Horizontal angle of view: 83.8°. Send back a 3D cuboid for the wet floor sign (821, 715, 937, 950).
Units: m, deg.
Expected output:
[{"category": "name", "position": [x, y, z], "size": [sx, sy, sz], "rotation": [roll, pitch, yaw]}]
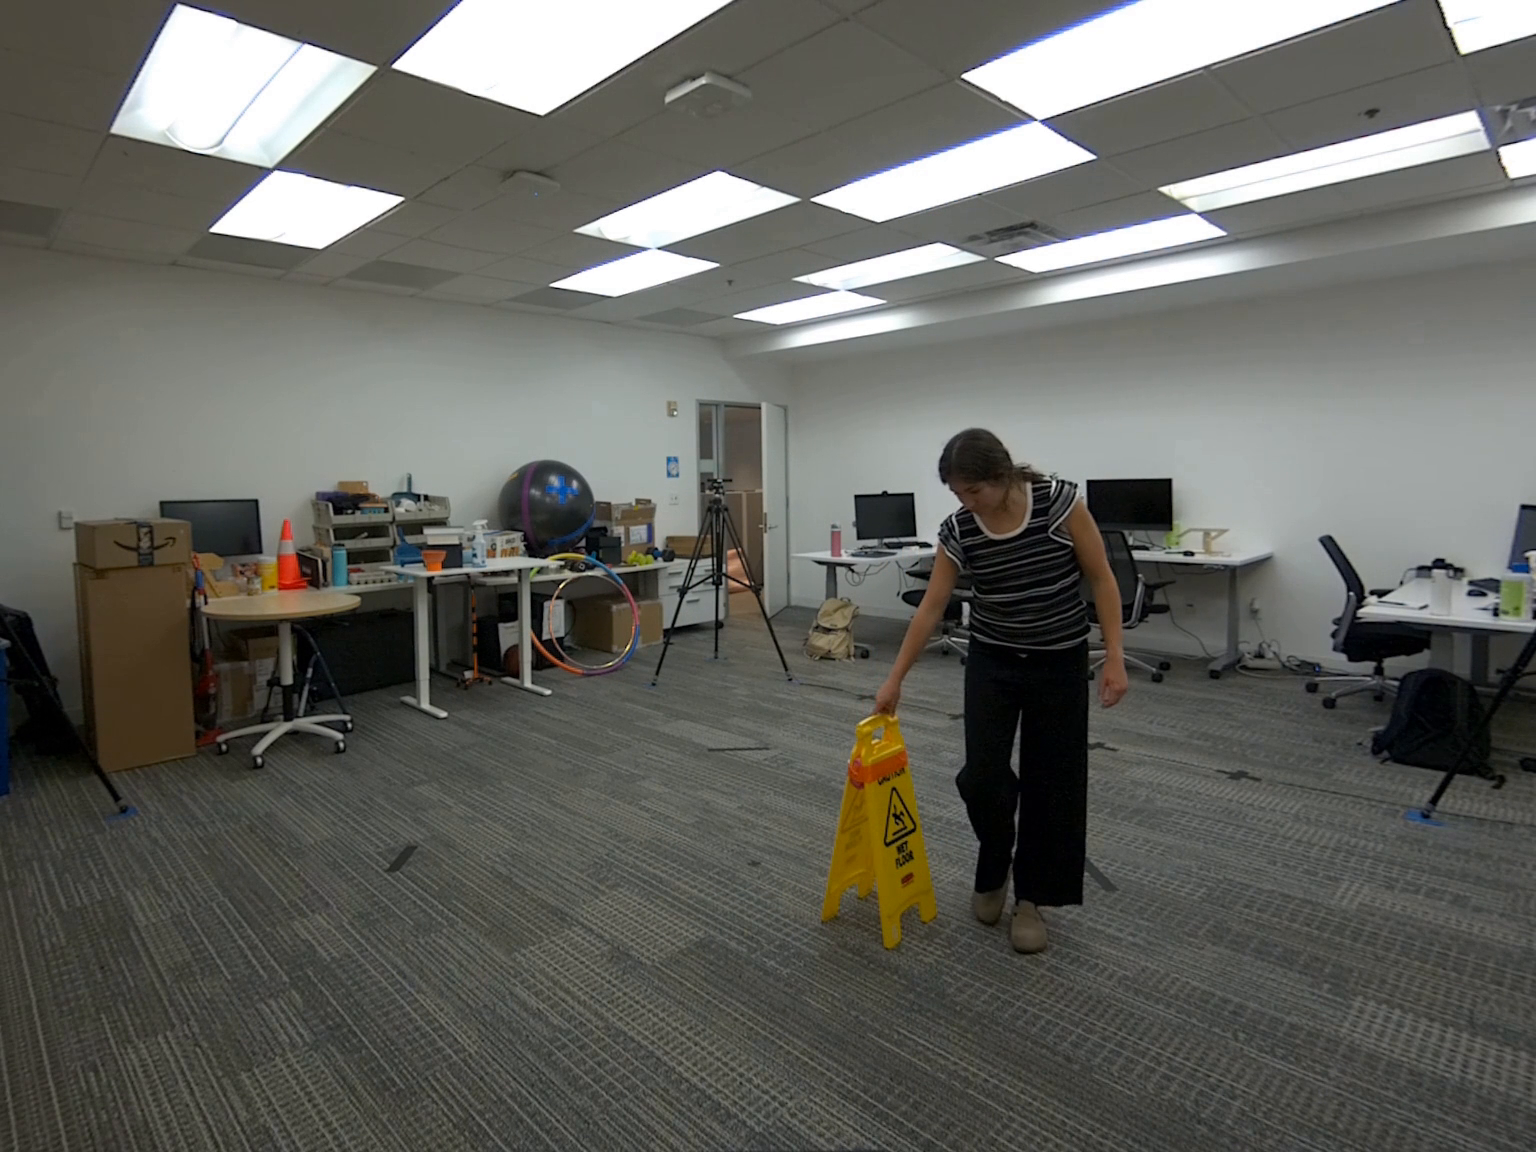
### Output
[{"category": "wet floor sign", "position": [0.354, 0.762, 2.678], "size": [0.298, 0.643, 0.275], "rotation": [3, 6, 41]}]
